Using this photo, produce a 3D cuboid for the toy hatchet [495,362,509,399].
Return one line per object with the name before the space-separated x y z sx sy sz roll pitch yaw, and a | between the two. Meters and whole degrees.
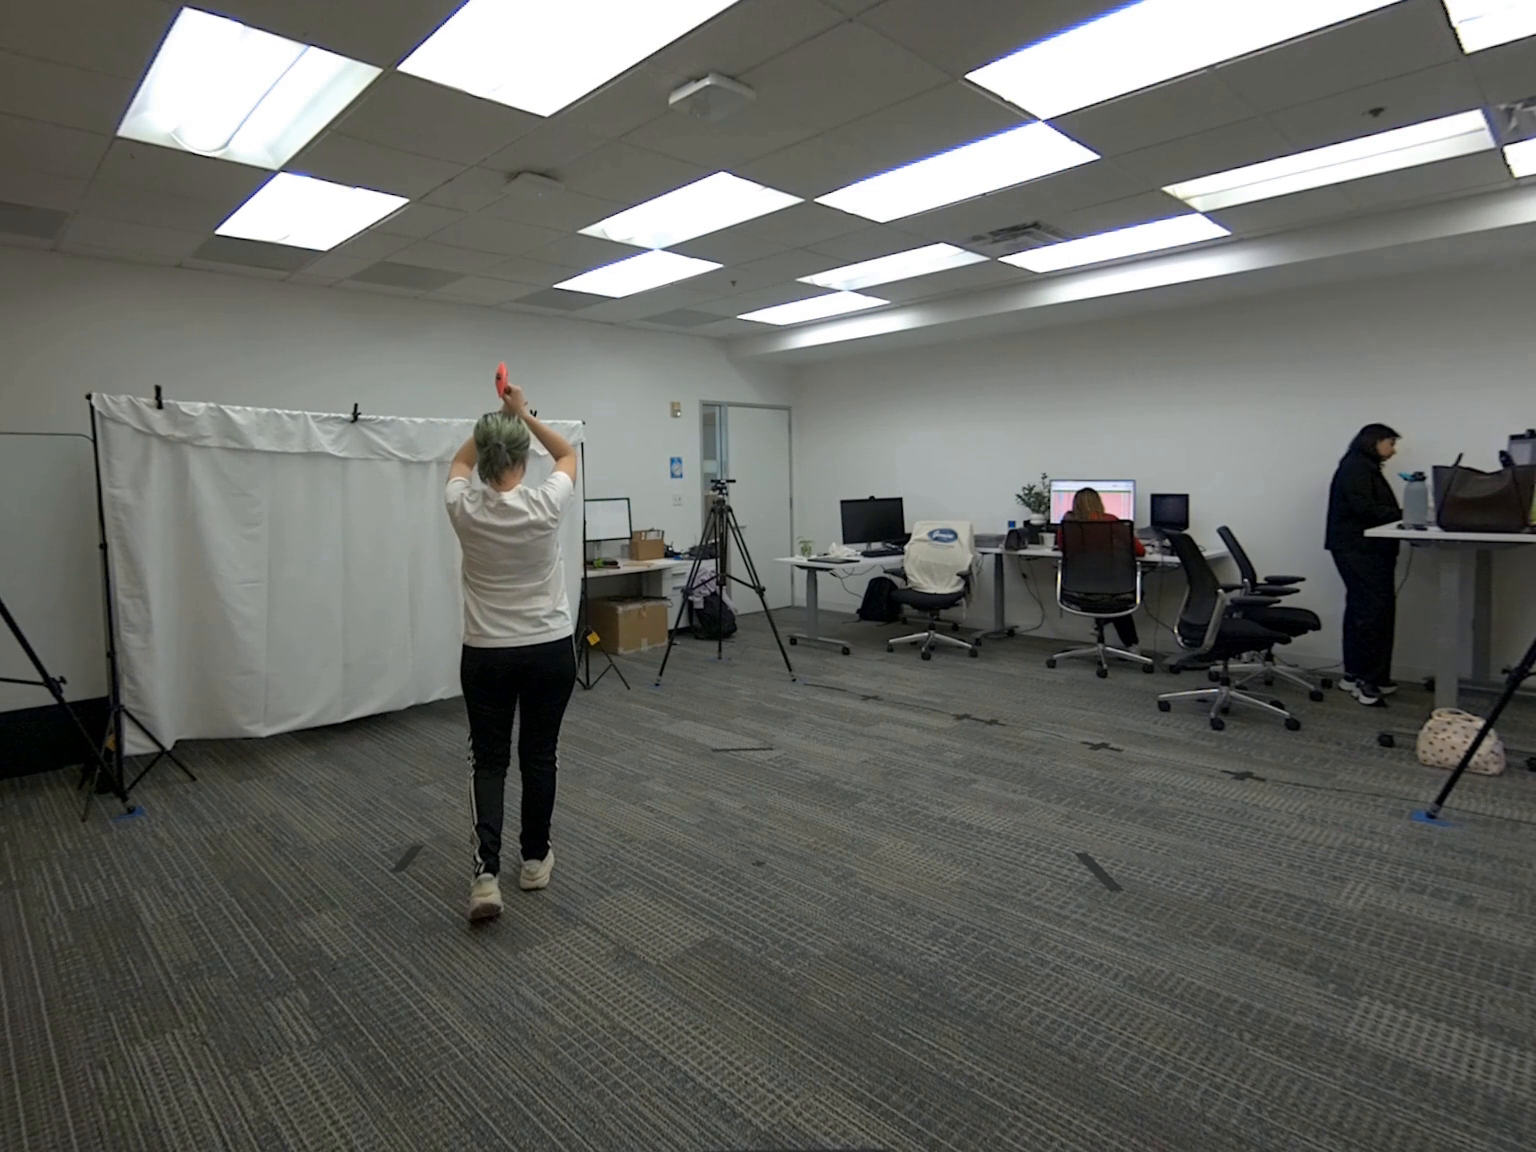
toy hatchet | -0.899 -0.660 2.960 0.029 0.131 0.269 -5 1 1
